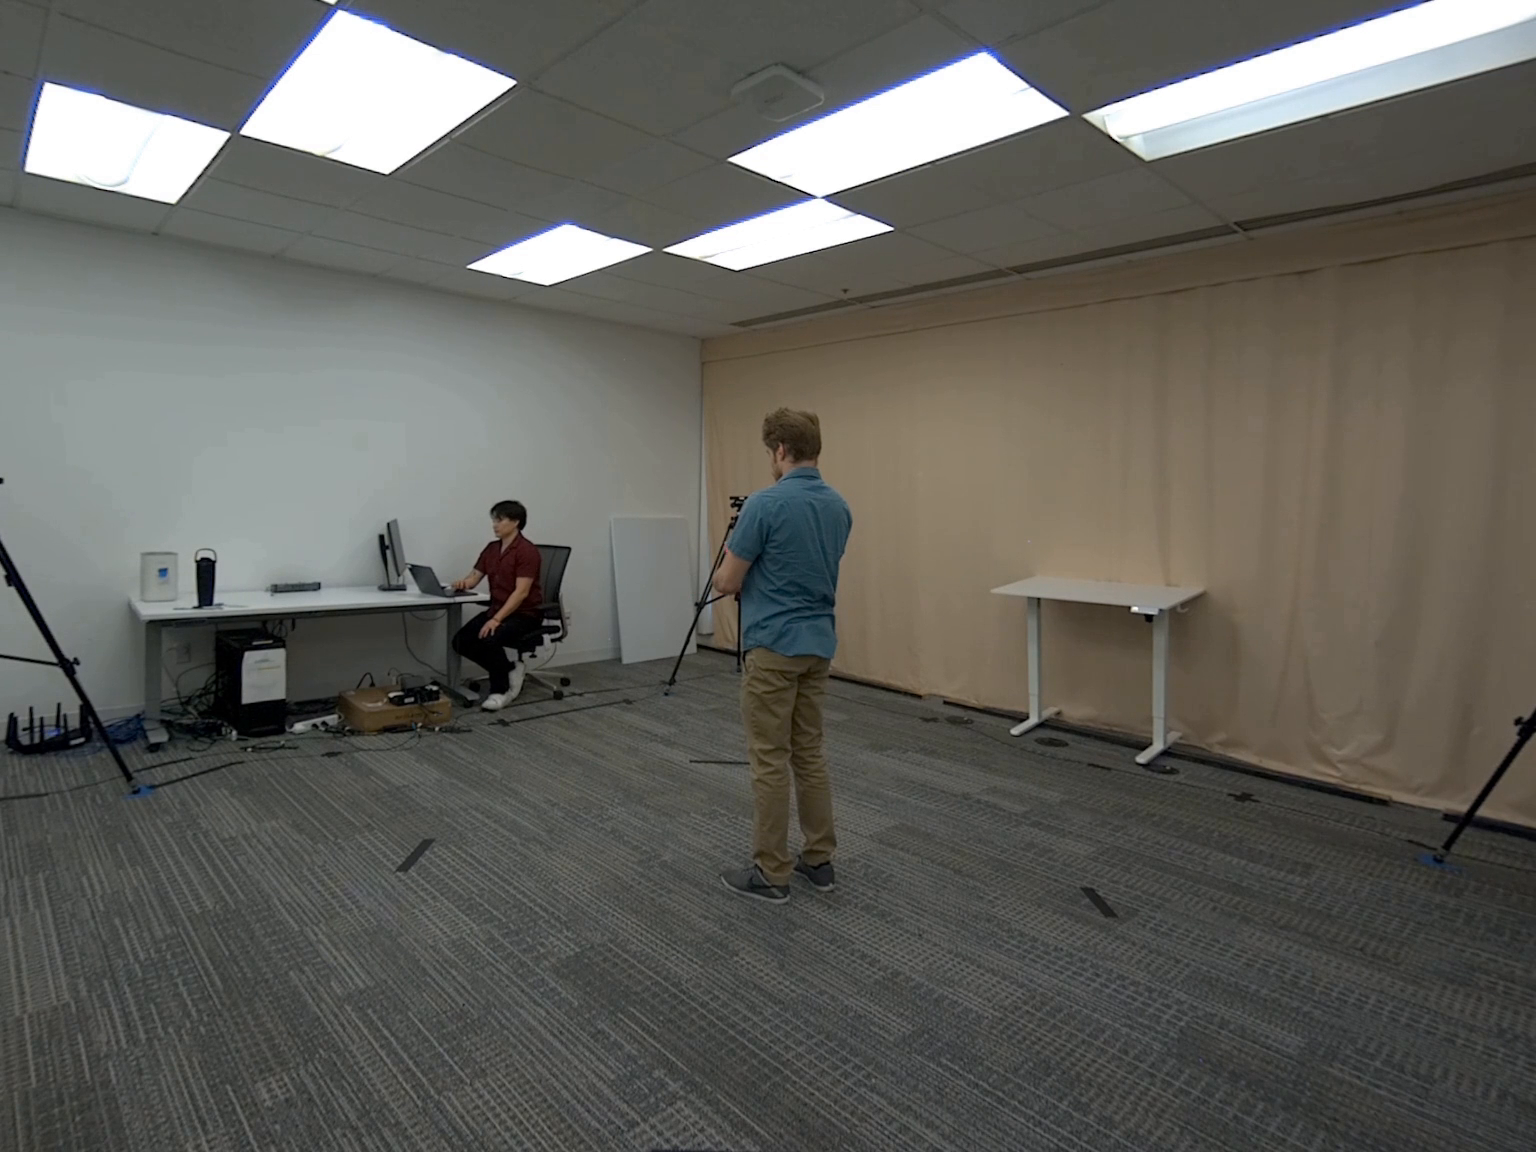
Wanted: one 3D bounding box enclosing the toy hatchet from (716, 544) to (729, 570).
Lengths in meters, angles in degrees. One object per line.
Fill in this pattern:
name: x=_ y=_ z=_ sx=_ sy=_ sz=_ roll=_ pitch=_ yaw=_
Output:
toy hatchet: x=-0.155 y=-0.051 z=3.279 sx=0.029 sy=0.129 sz=0.274 roll=-14 pitch=15 yaw=-2
